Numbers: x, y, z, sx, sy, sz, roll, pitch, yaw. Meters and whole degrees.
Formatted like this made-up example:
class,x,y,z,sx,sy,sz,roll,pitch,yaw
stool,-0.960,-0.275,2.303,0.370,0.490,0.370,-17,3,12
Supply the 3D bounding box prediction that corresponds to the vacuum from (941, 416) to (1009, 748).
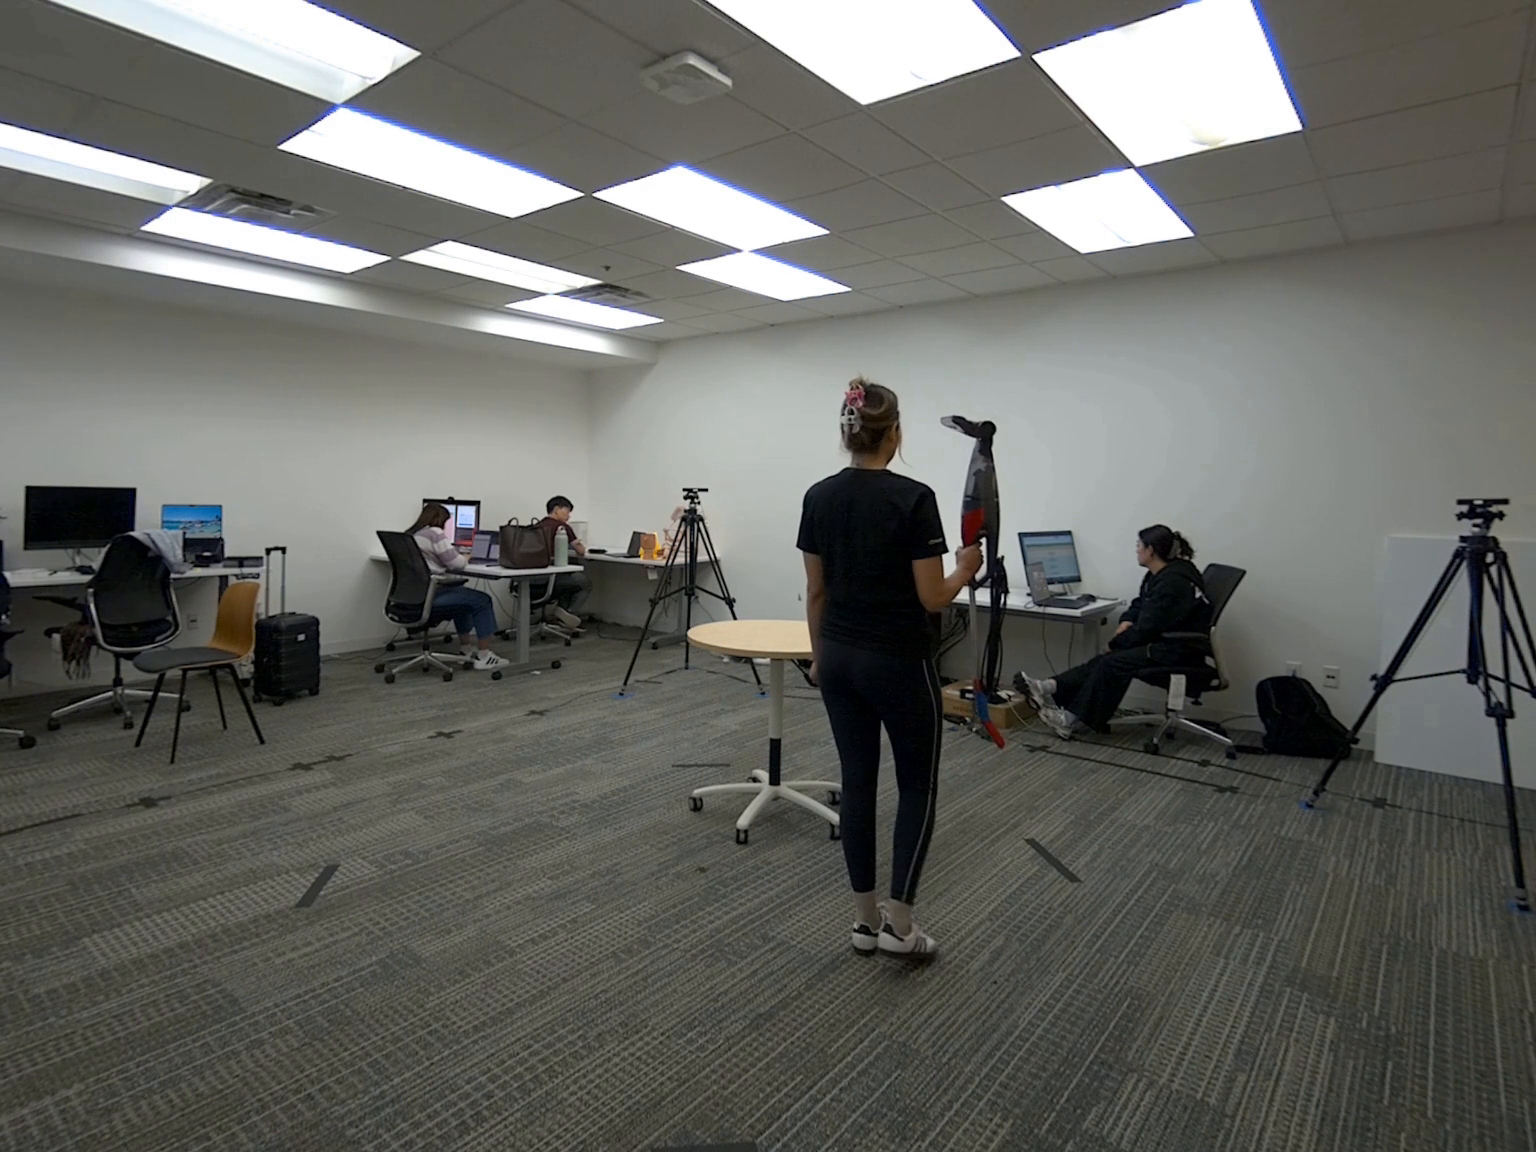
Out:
class,x,y,z,sx,sy,sz,roll,pitch,yaw
vacuum,0.689,0.031,2.687,0.145,1.044,0.251,-7,5,8
